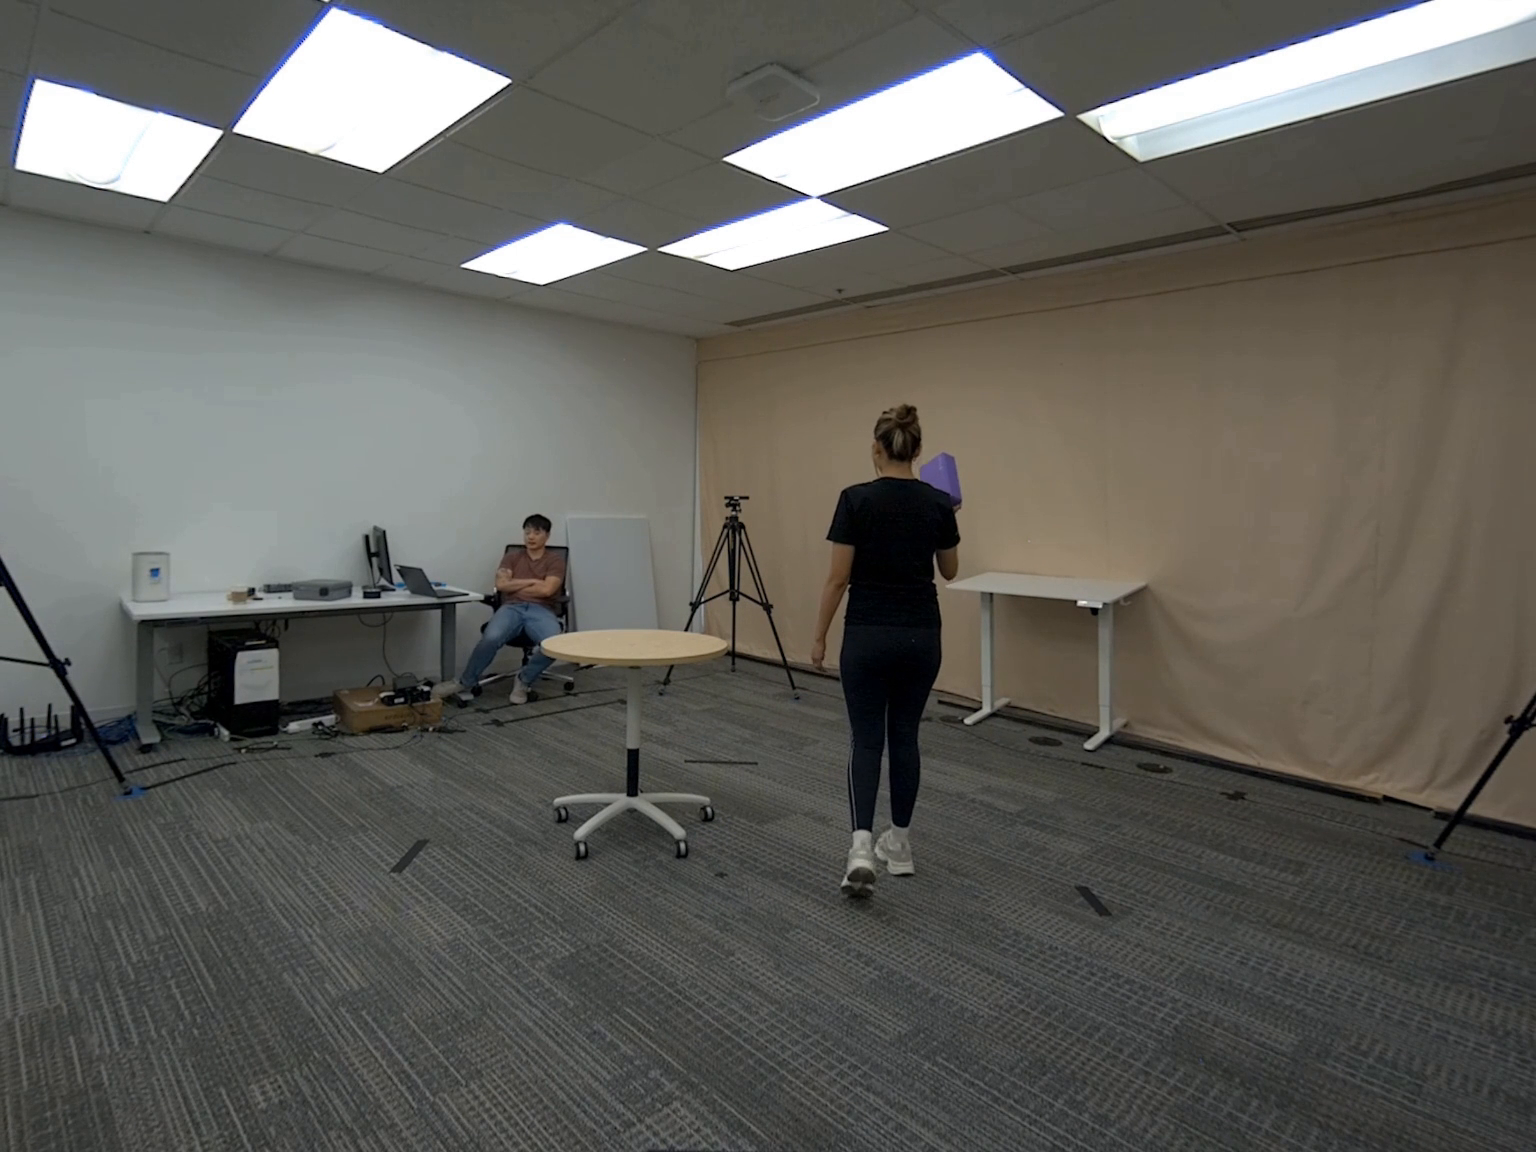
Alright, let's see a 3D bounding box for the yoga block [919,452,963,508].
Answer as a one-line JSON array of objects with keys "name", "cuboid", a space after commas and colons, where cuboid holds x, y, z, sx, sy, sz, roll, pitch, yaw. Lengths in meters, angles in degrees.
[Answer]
[{"name": "yoga block", "cuboid": [0.705, -0.379, 3.495, 0.074, 0.234, 0.150, 18, -35, -31]}]
